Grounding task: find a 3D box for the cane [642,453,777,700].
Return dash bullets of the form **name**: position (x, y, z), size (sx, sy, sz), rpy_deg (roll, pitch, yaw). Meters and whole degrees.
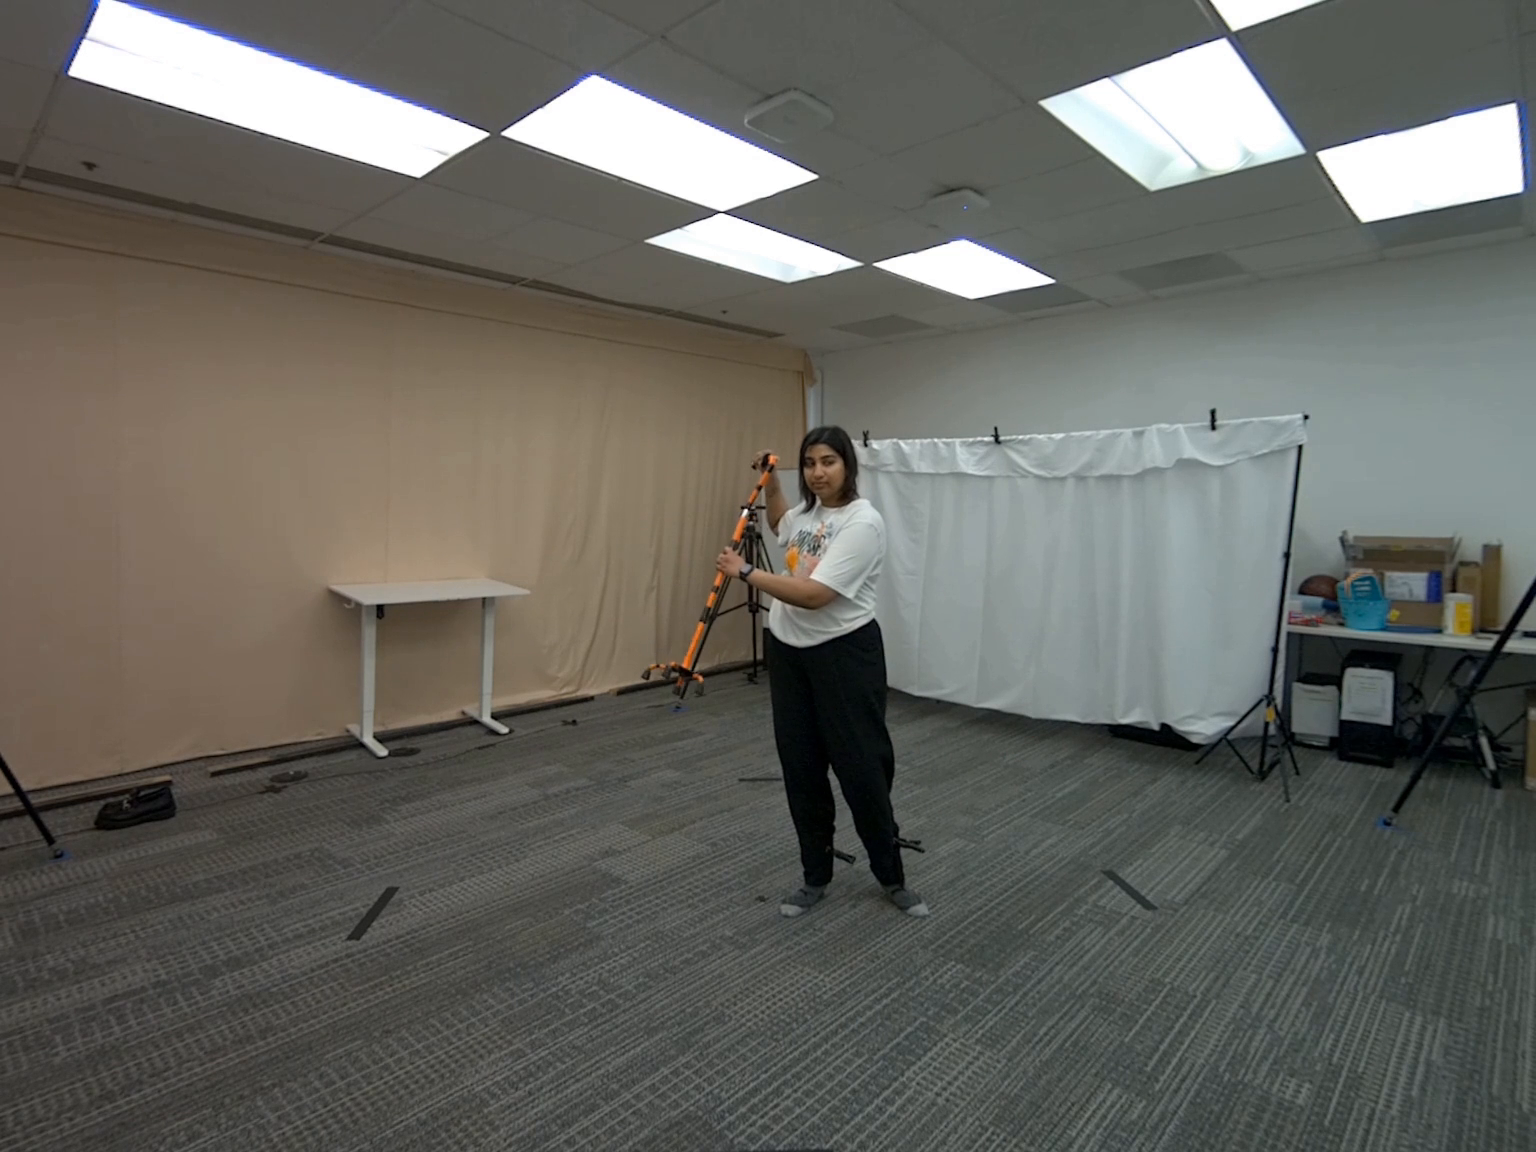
- **cane**: position (-0.150, -0.030, 2.871), size (0.148, 0.911, 0.211), rpy_deg (29, -21, -23)
